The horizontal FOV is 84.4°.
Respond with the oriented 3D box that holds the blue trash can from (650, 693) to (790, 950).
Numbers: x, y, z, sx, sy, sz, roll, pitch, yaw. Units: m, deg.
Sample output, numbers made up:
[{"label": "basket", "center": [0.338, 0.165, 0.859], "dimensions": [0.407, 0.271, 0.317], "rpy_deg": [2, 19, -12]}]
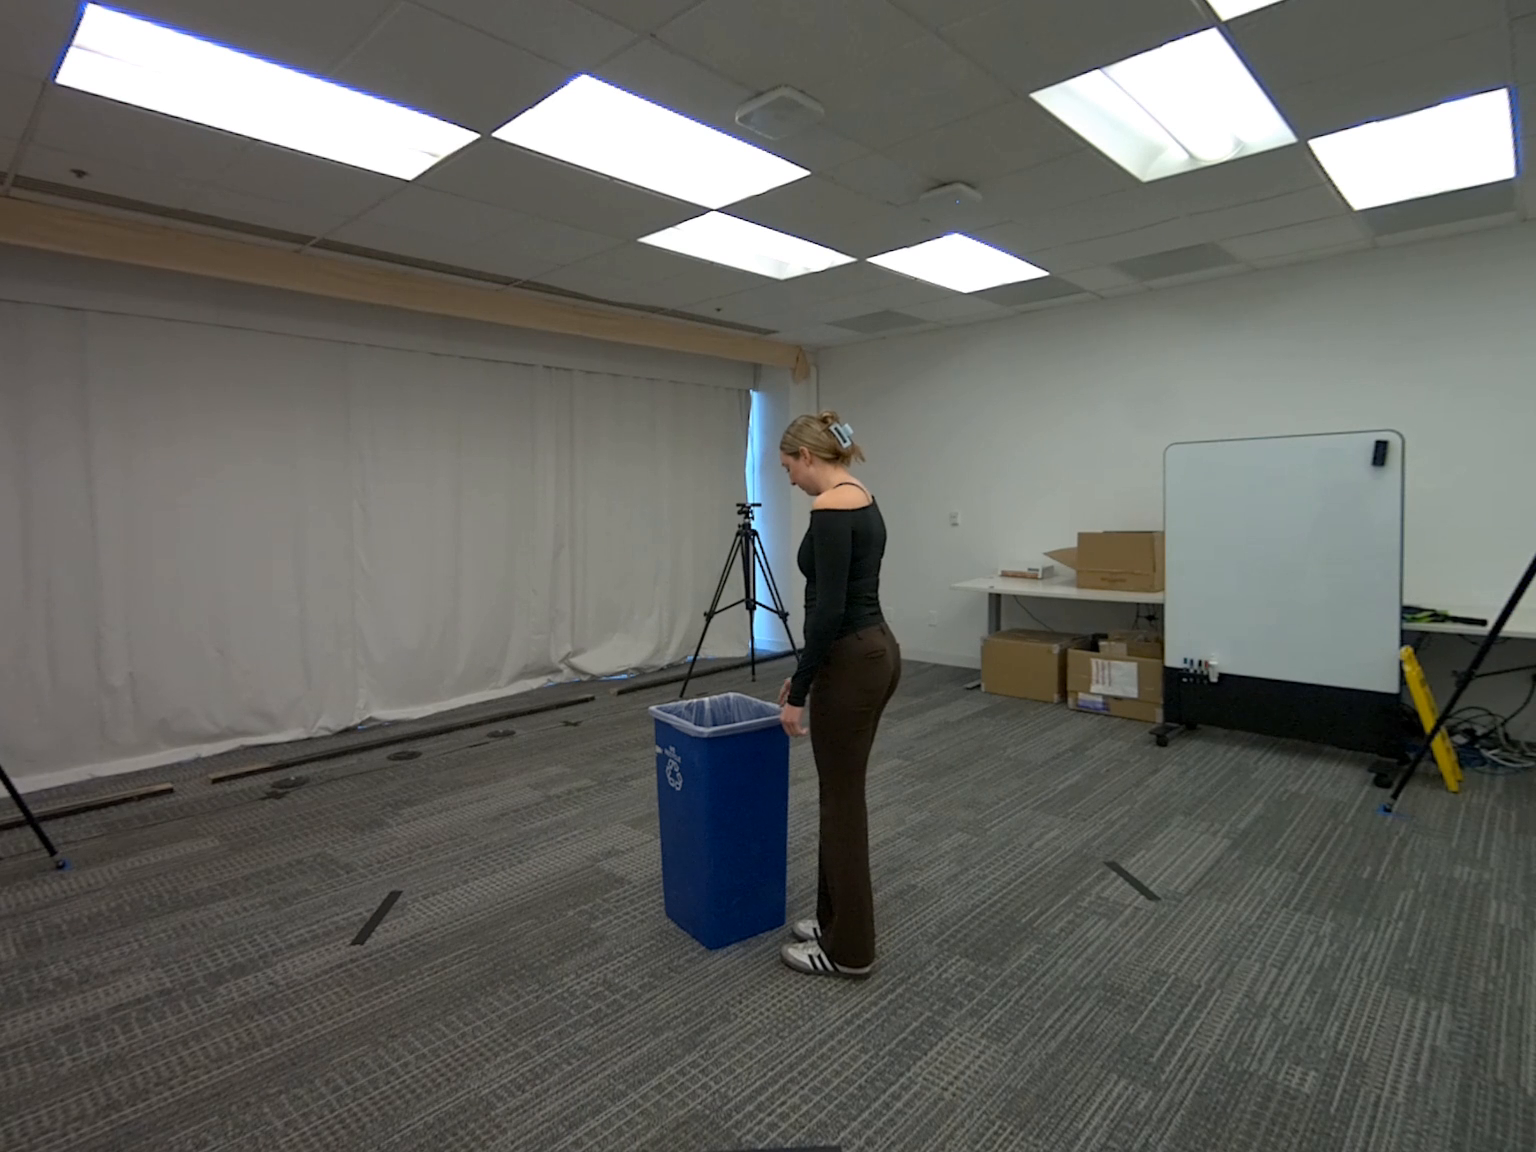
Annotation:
[{"label": "blue trash can", "center": [-0.143, 0.797, 2.802], "dimensions": [0.367, 0.712, 0.386], "rpy_deg": [-4, 4, -35]}]
